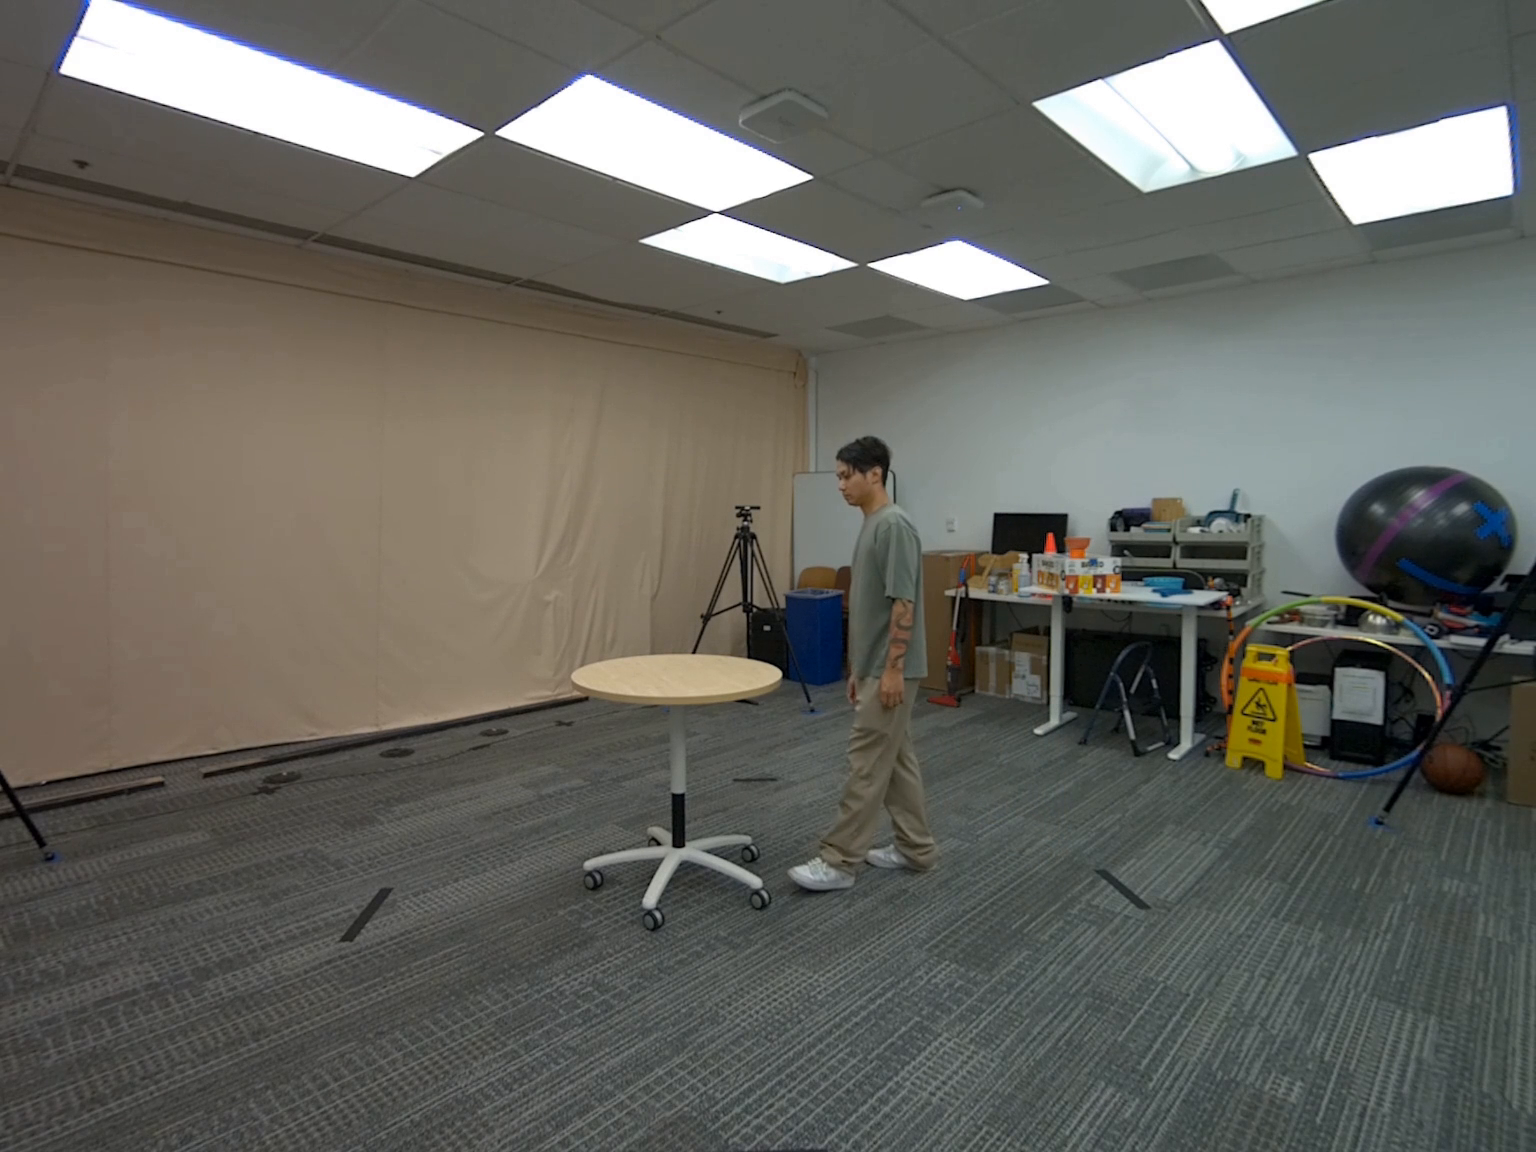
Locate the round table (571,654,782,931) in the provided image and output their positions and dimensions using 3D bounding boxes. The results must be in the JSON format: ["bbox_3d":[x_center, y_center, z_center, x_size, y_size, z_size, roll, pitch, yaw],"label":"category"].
[{"bbox_3d":[-0.333,0.747,3.076,0.784,0.785,0.788,0,4,-2],"label":"round table"}]
